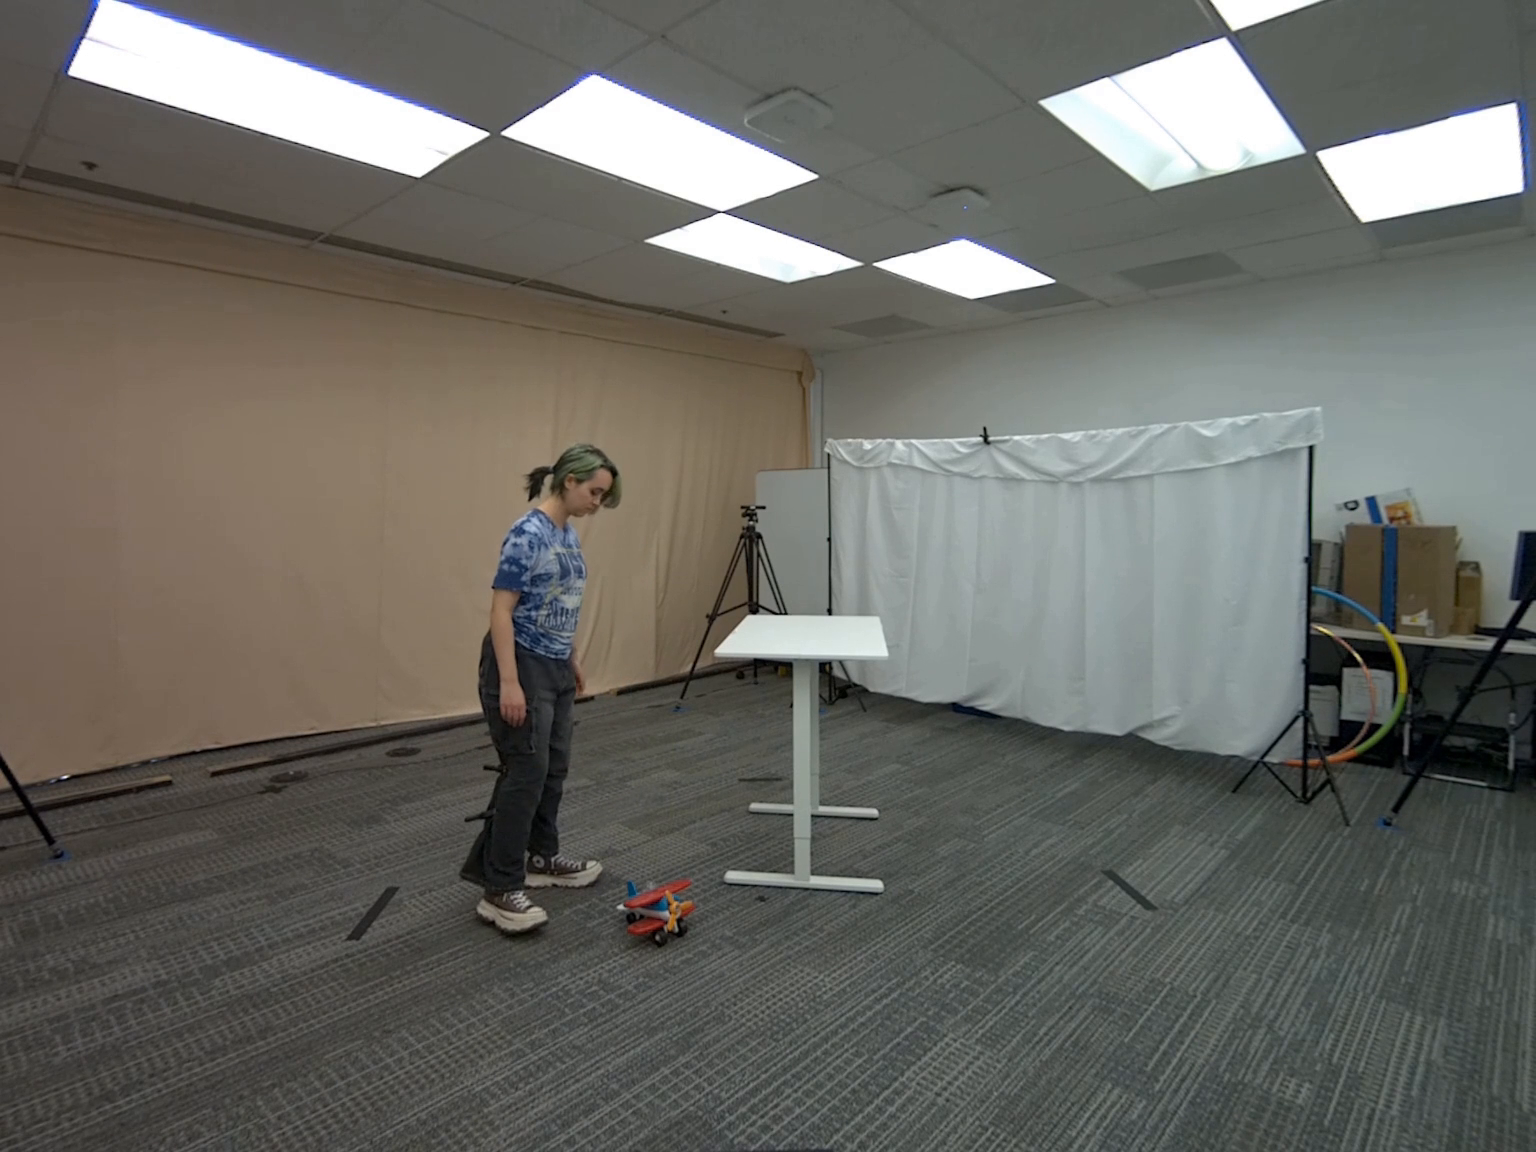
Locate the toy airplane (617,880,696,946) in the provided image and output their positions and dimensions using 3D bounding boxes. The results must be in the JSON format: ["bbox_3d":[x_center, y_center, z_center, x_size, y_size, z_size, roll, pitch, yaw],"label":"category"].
[{"bbox_3d":[-0.388,1.092,2.744,0.264,0.156,0.247,3,5,15],"label":"toy airplane"}]
